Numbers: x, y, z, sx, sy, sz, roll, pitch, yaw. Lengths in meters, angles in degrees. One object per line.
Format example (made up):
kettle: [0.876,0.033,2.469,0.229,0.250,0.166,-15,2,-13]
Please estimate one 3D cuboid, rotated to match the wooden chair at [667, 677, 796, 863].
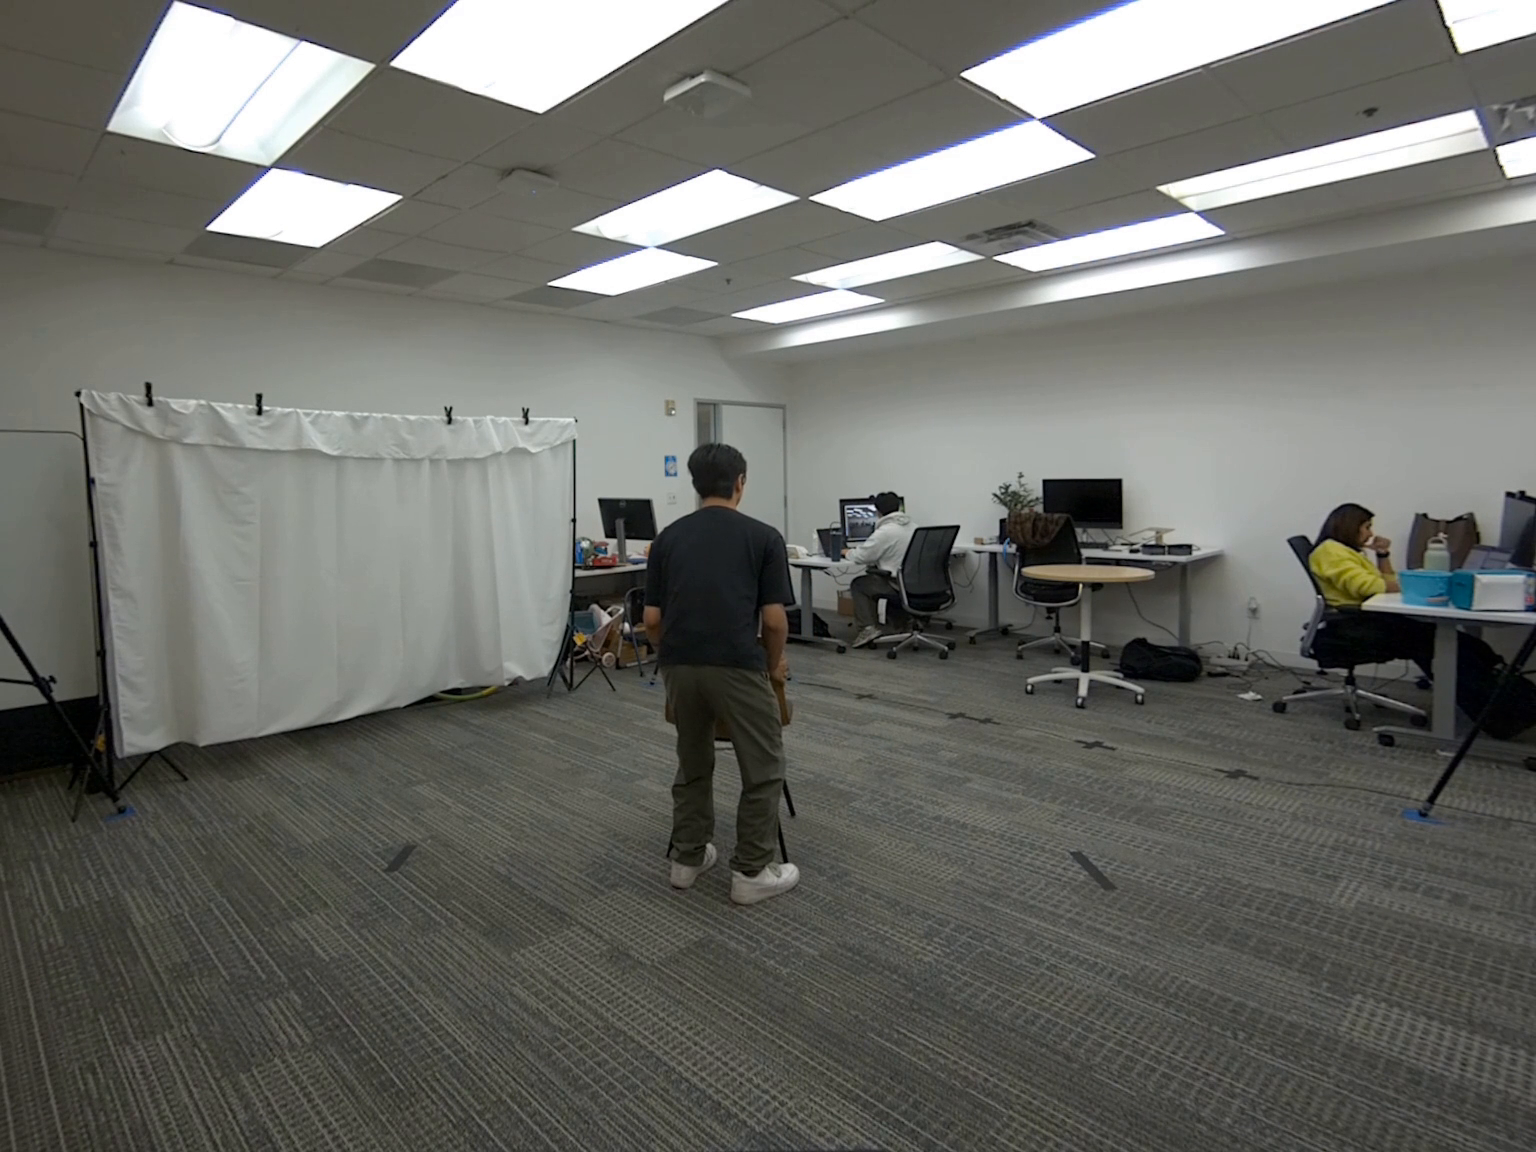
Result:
wooden chair: [-0.135,0.589,3.327,0.482,0.871,0.523,-1,8,7]
